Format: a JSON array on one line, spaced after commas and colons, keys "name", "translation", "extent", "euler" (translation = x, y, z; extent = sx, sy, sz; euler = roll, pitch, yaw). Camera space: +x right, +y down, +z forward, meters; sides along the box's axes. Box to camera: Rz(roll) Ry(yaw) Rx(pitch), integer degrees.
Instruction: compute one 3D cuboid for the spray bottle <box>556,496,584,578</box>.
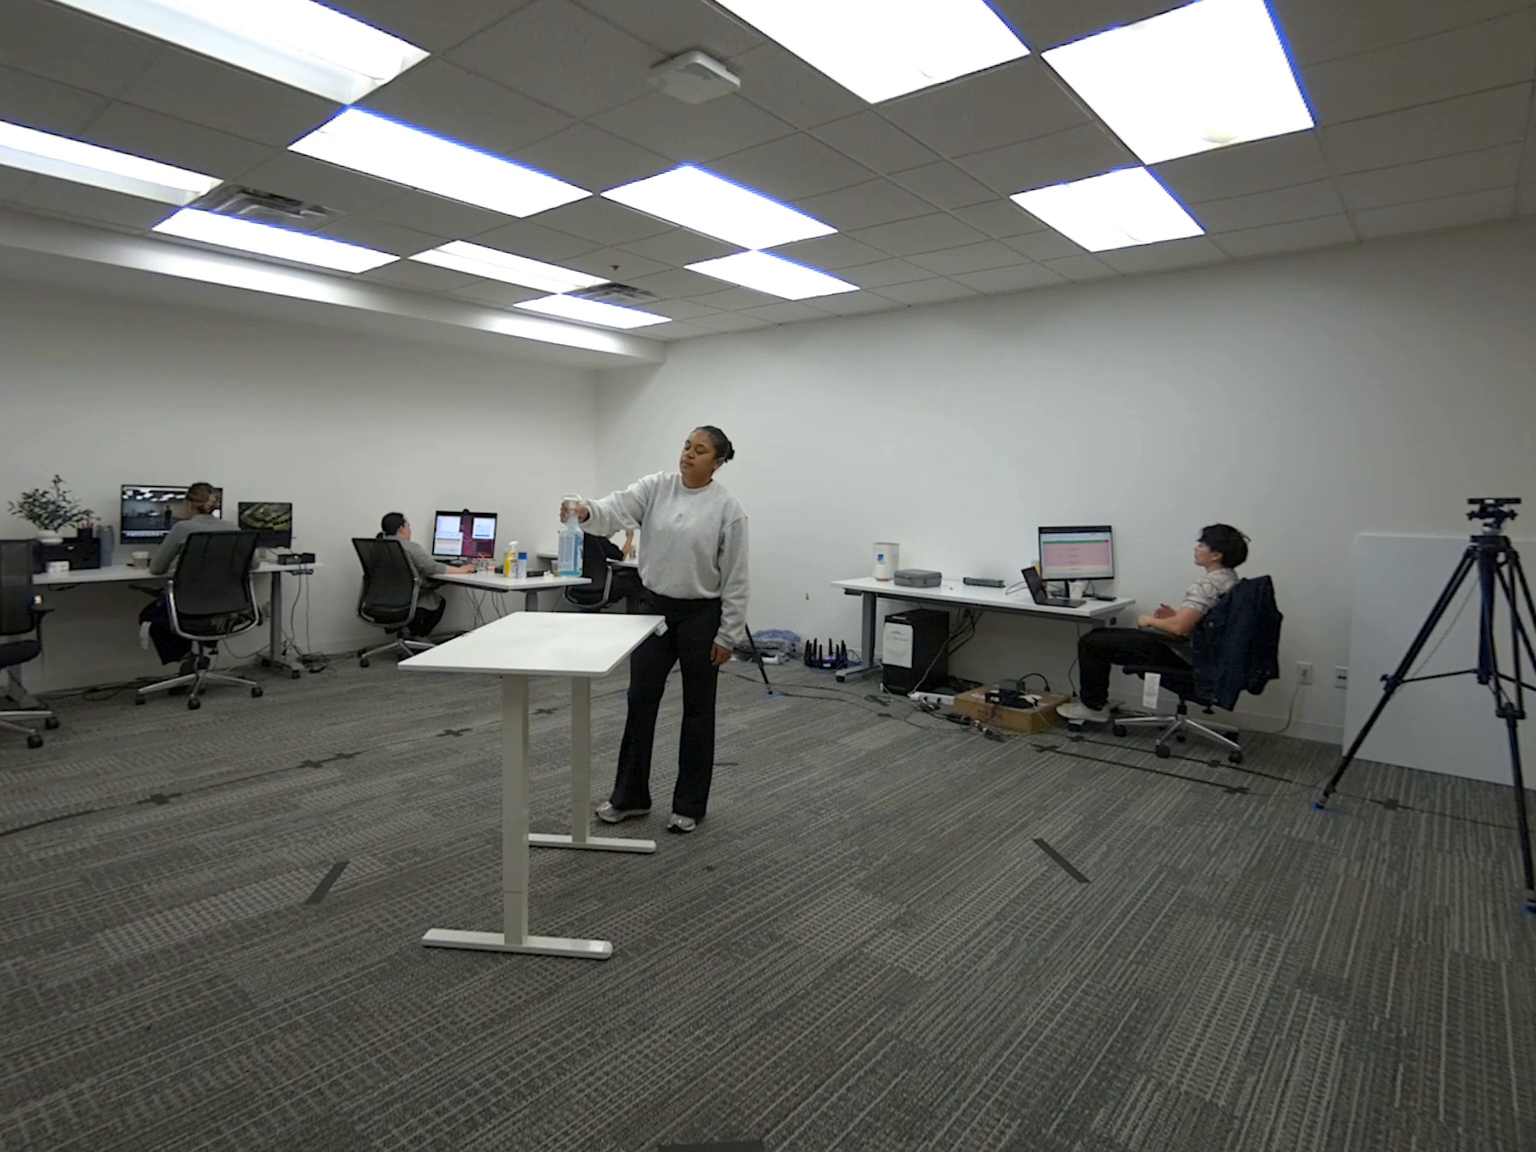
[{"name": "spray bottle", "translation": [-0.716, -0.141, 3.030], "extent": [0.084, 0.300, 0.092], "euler": [7, -10, -38]}]
